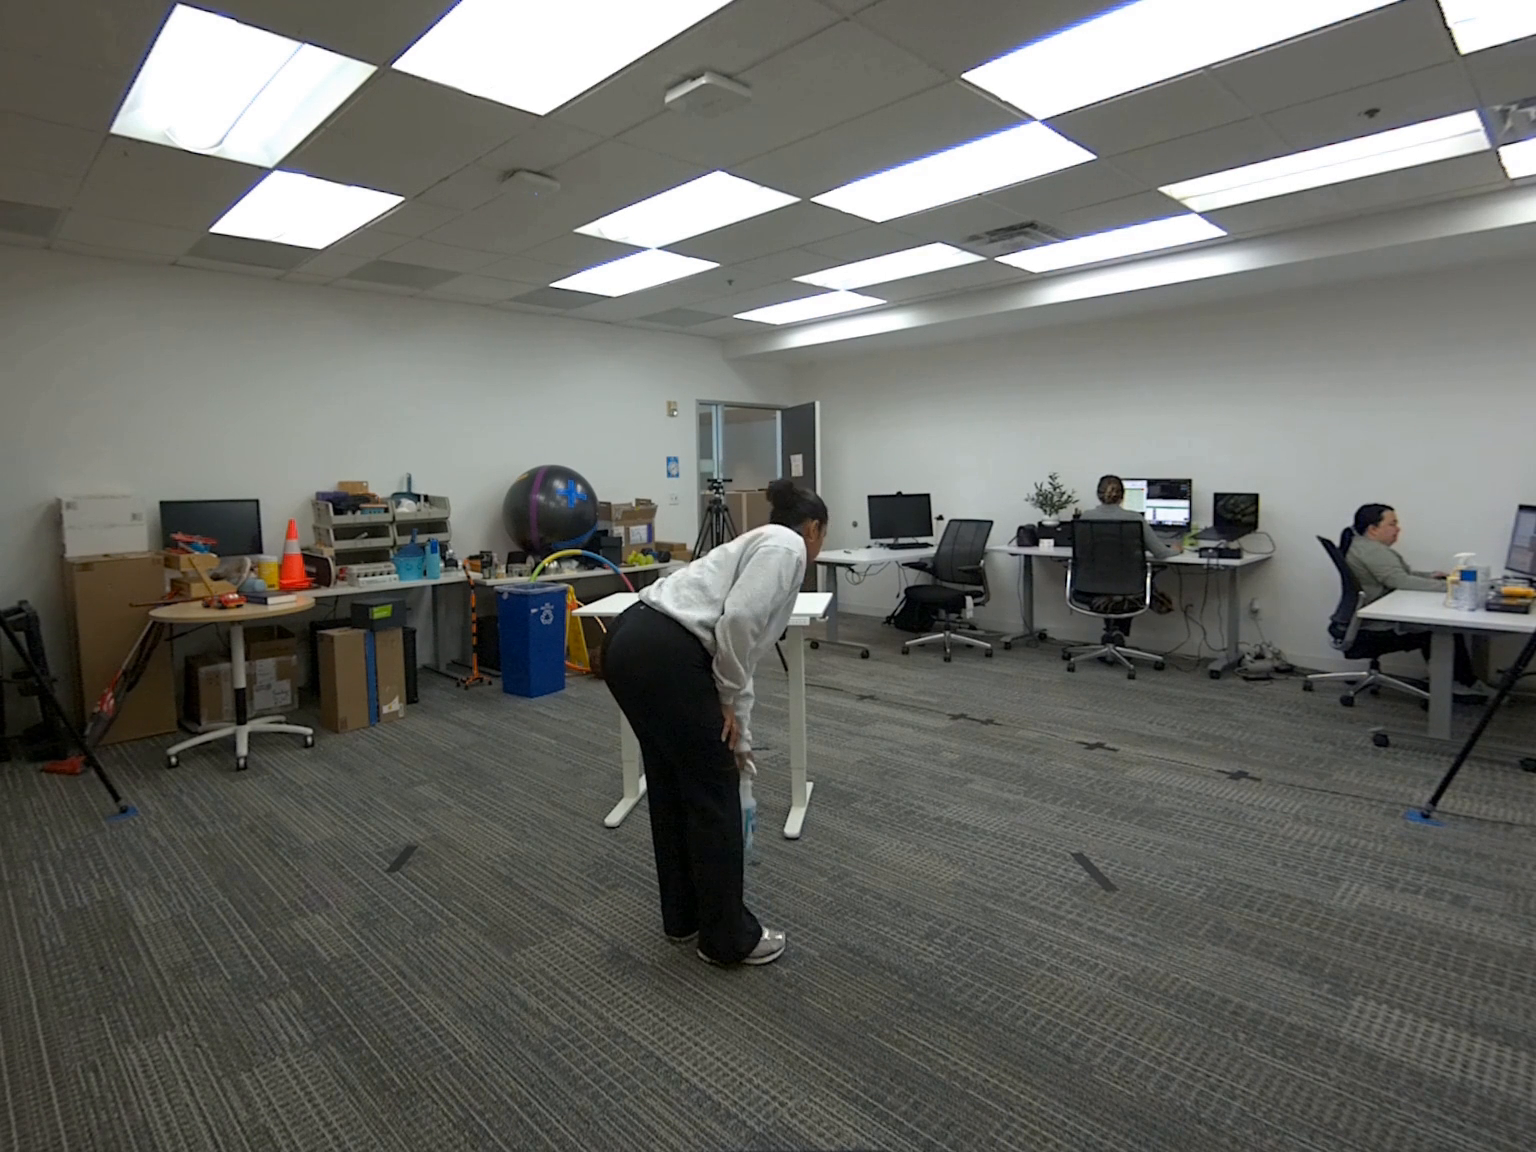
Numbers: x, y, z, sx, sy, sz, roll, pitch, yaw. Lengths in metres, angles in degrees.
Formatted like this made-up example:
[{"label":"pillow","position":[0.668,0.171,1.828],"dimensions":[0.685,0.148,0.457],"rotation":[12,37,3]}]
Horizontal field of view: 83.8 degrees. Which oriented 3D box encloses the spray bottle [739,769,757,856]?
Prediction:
[{"label":"spray bottle","position":[-0.078,0.736,2.765],"dimensions":[0.085,0.296,0.092],"rotation":[3,3,-21]}]
